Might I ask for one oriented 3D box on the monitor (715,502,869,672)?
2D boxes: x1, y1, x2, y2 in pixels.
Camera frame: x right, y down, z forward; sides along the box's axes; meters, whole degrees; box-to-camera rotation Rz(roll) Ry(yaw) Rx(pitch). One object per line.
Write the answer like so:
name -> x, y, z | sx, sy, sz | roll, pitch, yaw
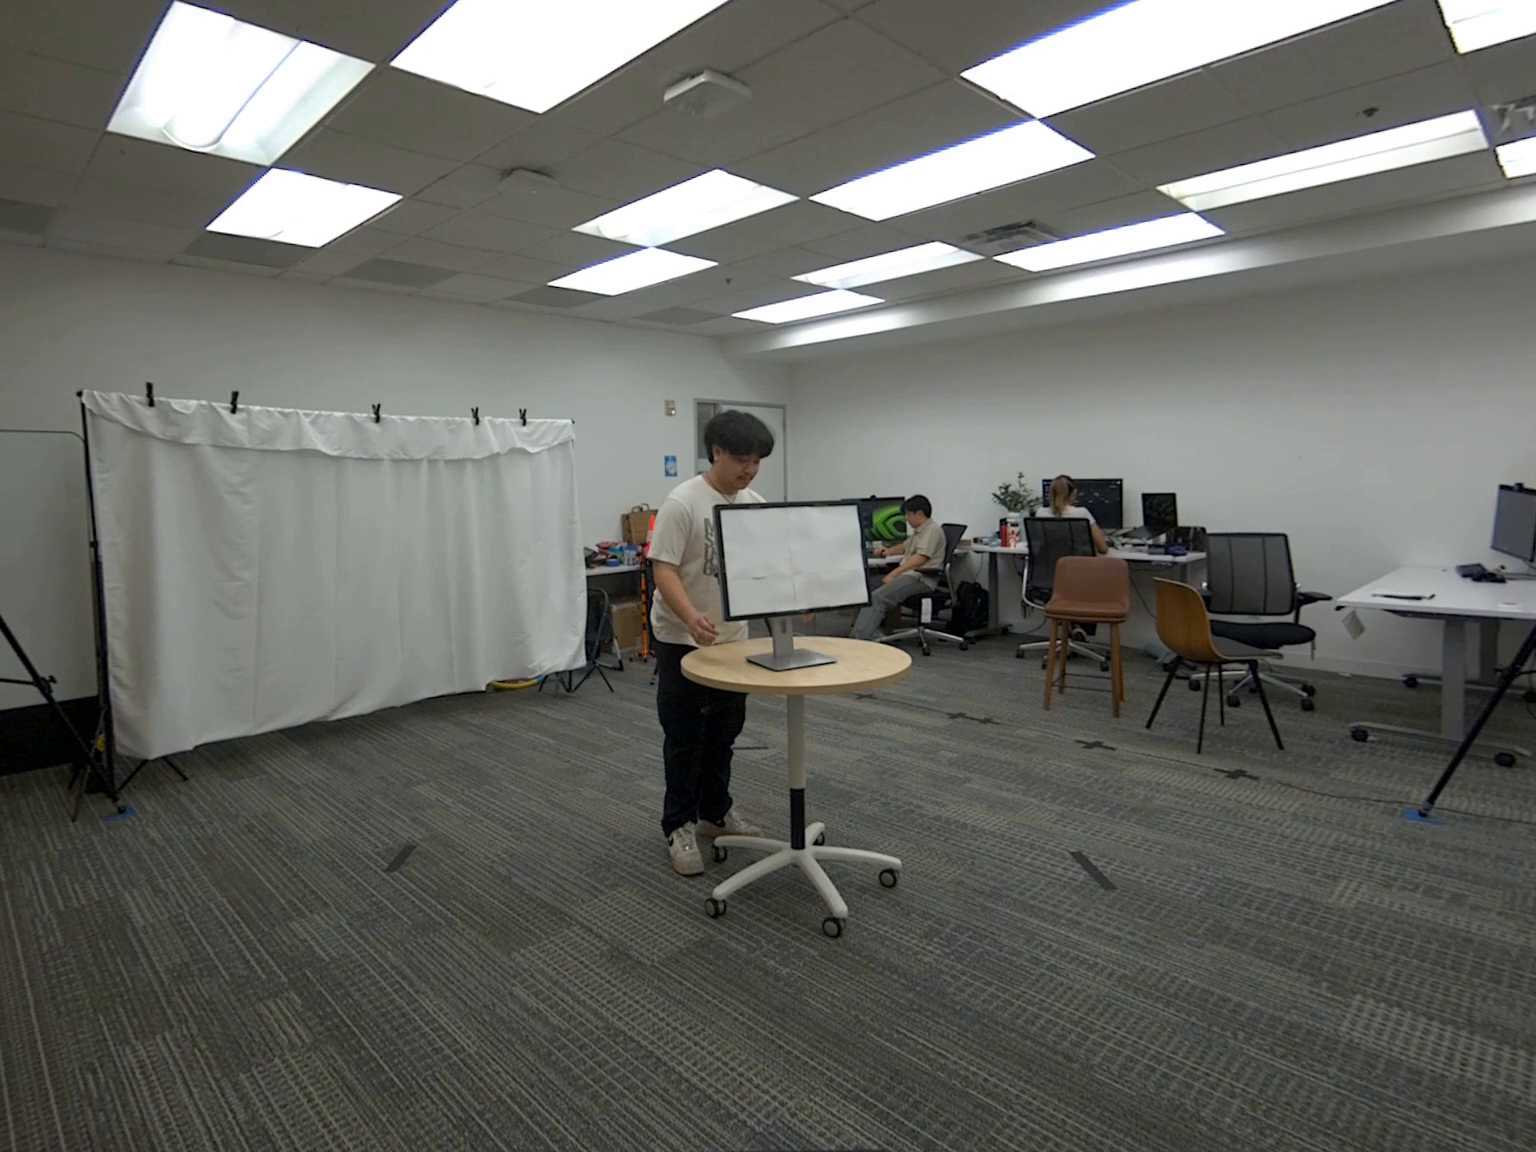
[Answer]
monitor -> 0.058, 0.028, 2.819 | 0.552, 0.554, 0.215 | -4, 1, -30
